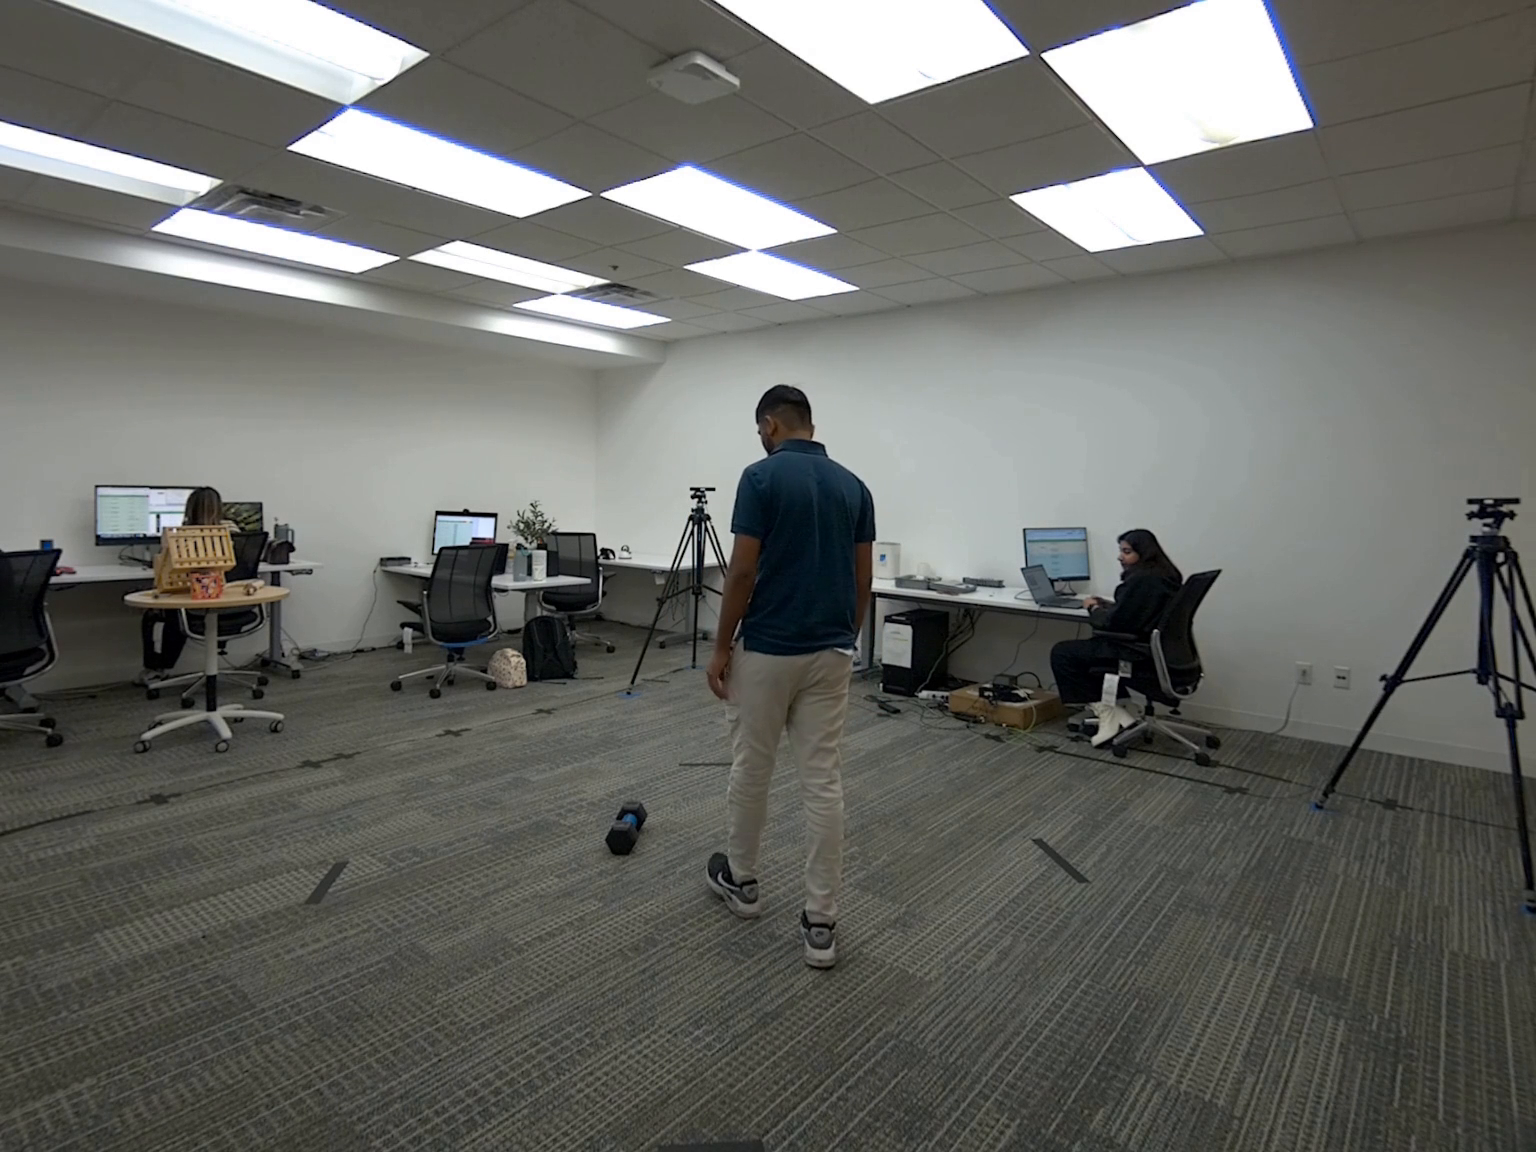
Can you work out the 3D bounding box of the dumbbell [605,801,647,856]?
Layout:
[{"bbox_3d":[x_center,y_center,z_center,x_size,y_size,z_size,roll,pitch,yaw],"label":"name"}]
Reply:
[{"bbox_3d":[-0.565,0.984,3.349,0.109,0.123,0.293,30,5,-1],"label":"dumbbell"}]
